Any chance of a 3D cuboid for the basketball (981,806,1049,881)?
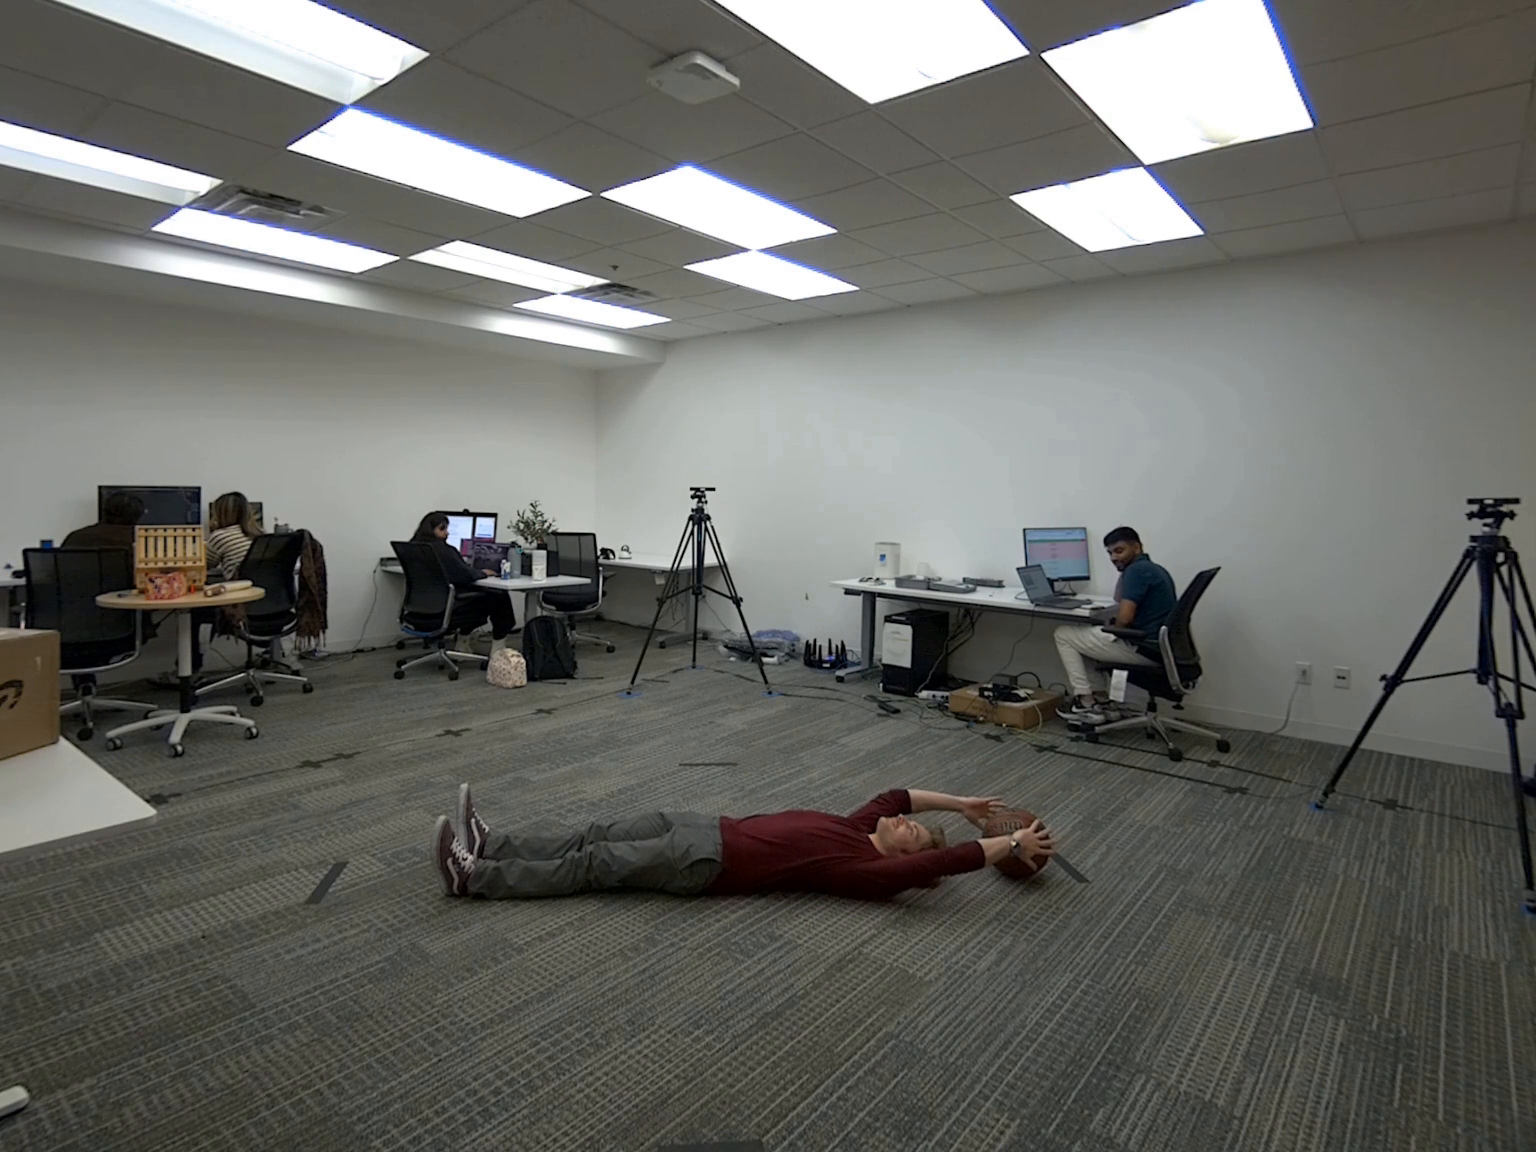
[{"bbox_3d":[0.906,0.972,3.126,0.235,0.235,0.237,1,4,-2],"label":"basketball"}]
